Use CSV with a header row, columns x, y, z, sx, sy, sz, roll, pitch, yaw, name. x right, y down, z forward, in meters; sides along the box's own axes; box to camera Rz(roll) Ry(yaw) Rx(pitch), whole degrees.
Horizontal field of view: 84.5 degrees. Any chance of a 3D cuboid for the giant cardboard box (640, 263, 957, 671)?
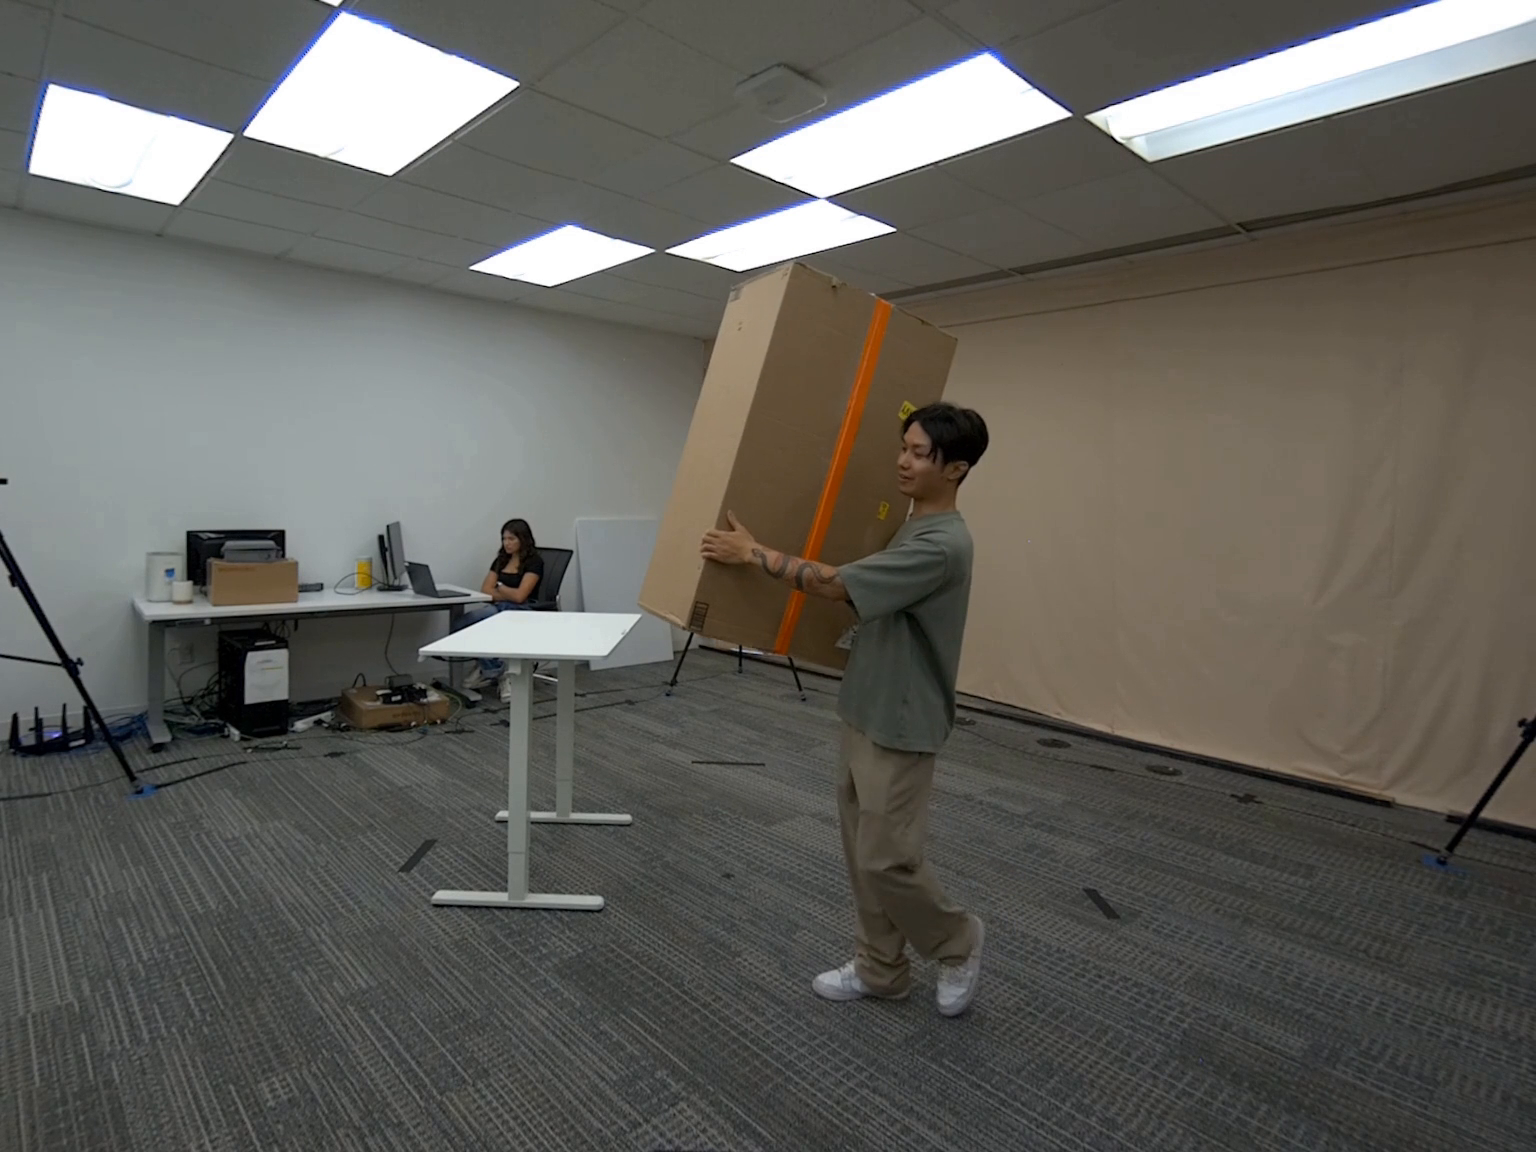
x,y,z,sx,sy,sz,roll,pitch,yaw,name
0.078,-0.294,2.497,0.564,1.027,0.435,17,-2,-26,giant cardboard box
